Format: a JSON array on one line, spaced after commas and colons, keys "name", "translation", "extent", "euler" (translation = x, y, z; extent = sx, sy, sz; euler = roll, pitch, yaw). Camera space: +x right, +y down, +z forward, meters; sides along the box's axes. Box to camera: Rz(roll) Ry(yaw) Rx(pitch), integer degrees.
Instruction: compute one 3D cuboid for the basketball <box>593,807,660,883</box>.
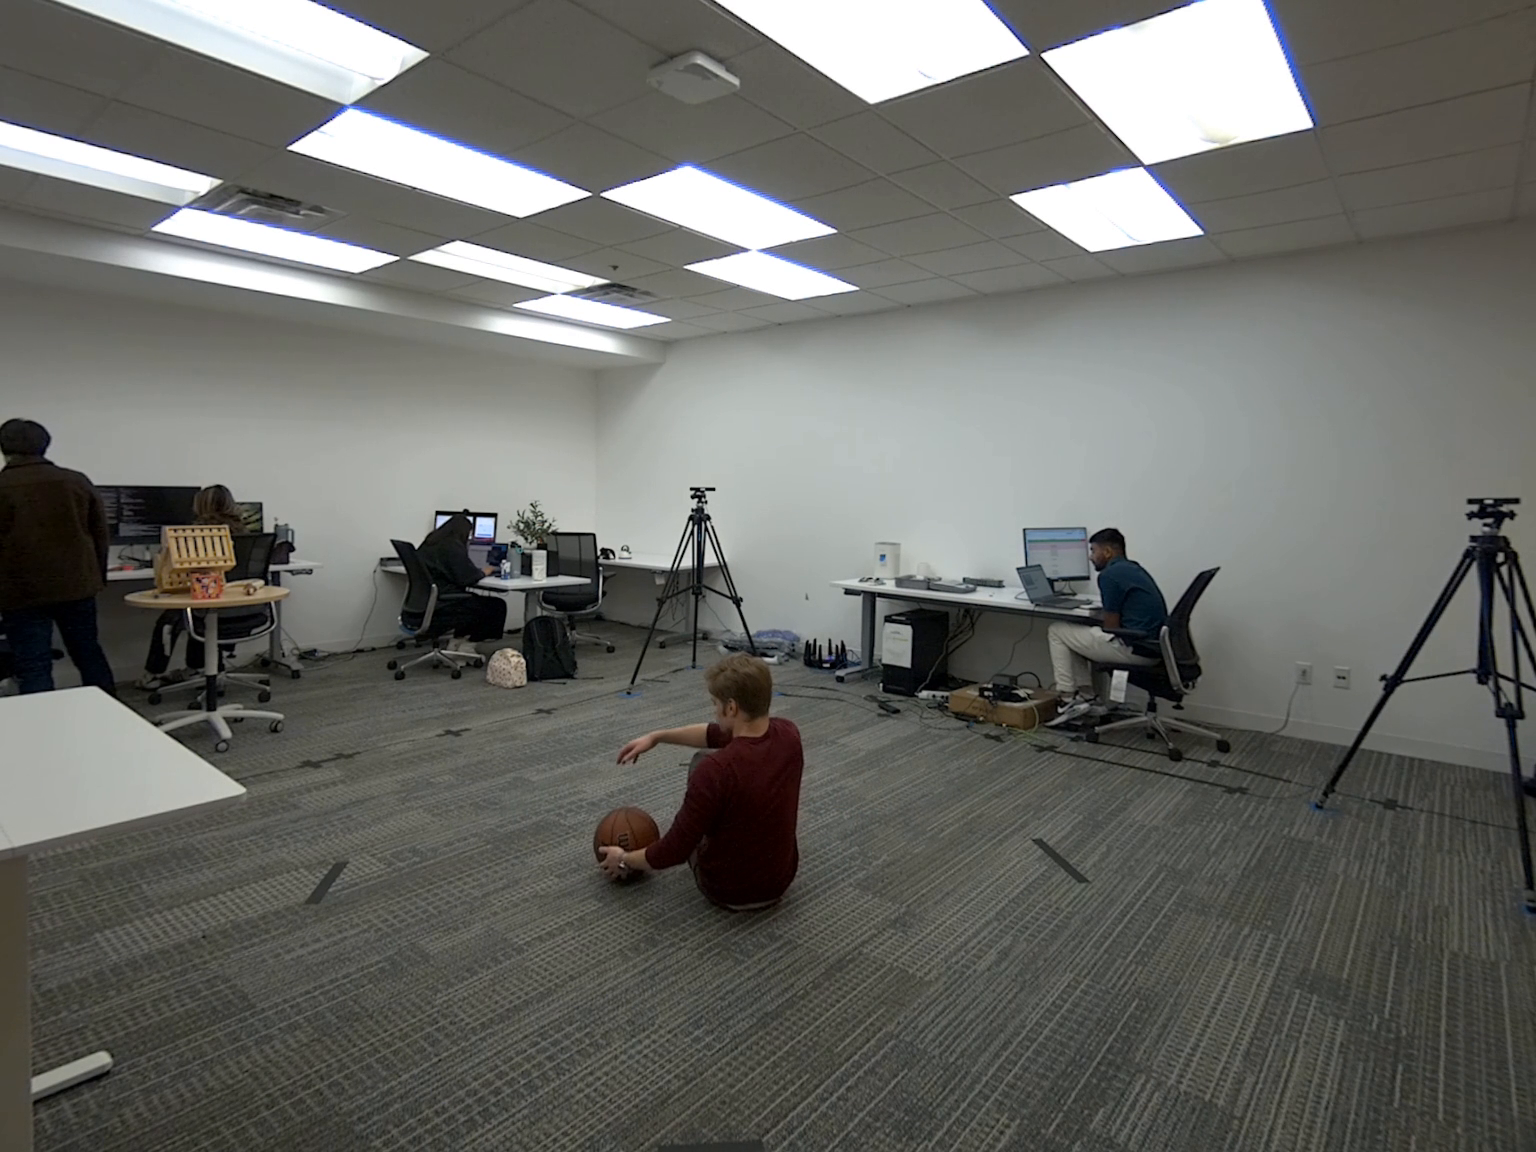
[{"name": "basketball", "translation": [-0.513, 0.946, 3.050], "extent": [0.235, 0.235, 0.237], "euler": [1, 4, -2]}]
